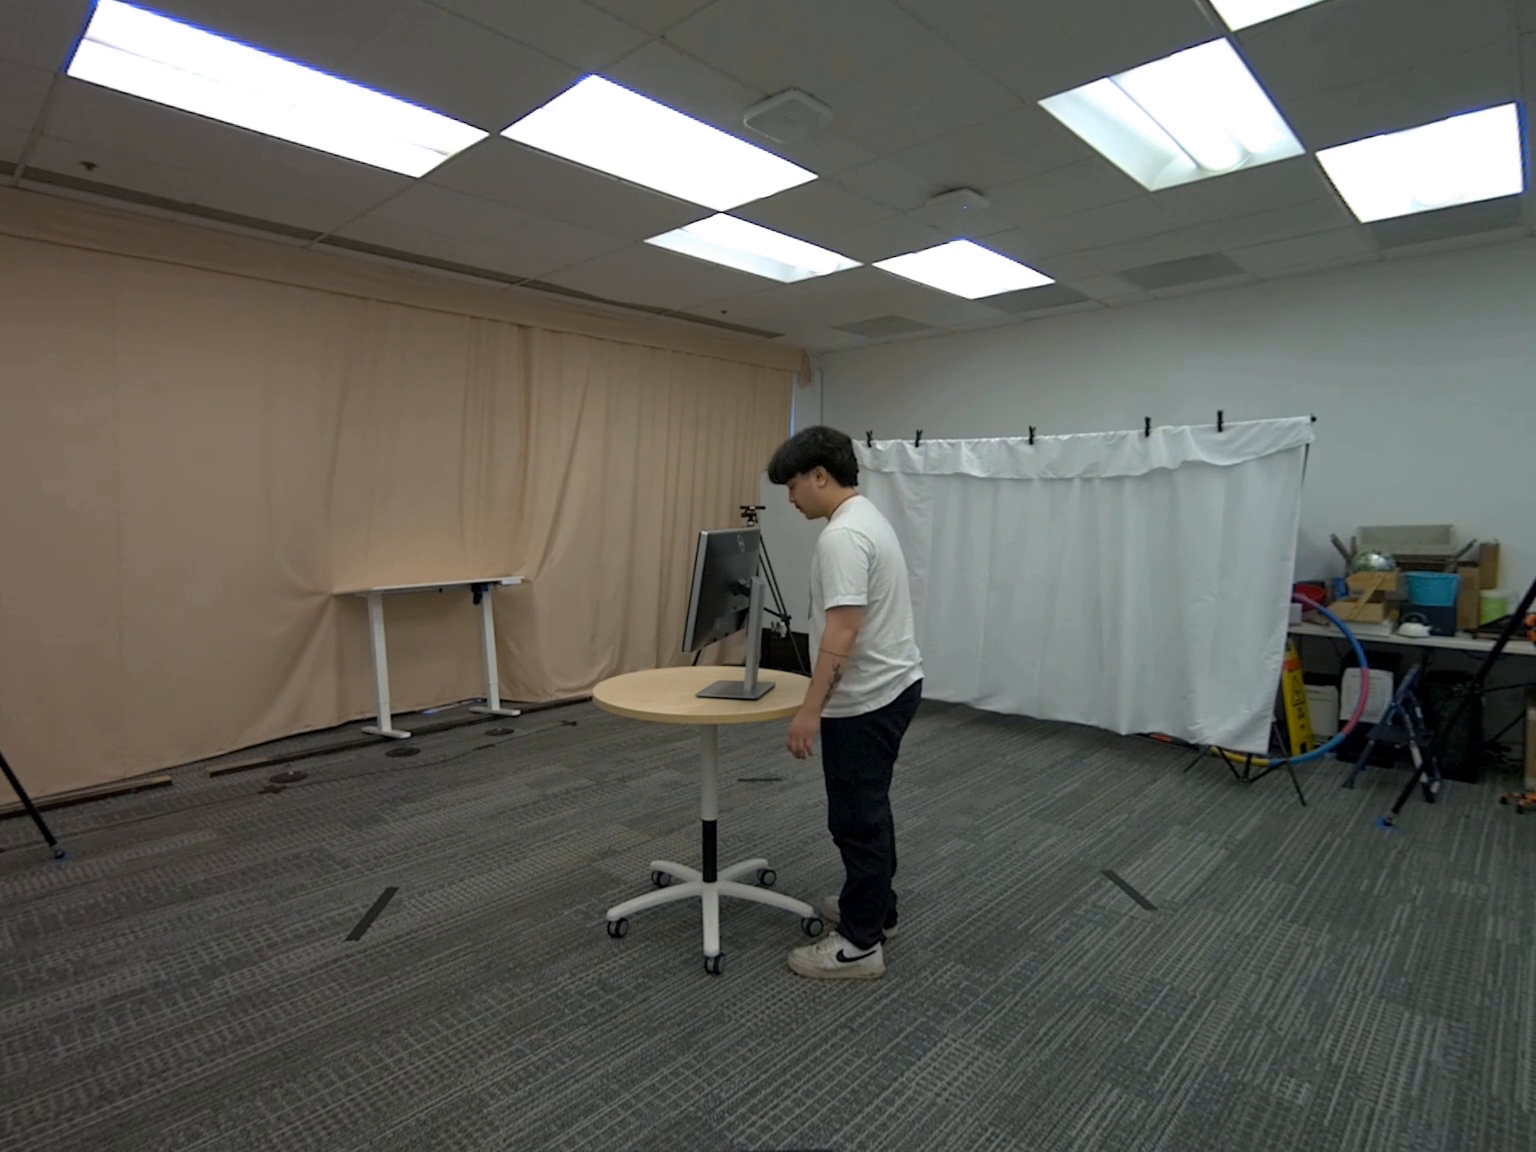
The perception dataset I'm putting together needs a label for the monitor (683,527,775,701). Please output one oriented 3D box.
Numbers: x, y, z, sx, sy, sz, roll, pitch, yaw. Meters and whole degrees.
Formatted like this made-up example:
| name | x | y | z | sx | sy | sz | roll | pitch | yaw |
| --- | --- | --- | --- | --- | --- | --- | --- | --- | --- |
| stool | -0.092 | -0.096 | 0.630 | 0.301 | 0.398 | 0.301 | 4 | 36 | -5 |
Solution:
| name | x | y | z | sx | sy | sz | roll | pitch | yaw |
| --- | --- | --- | --- | --- | --- | --- | --- | --- | --- |
| monitor | -0.075 | 0.124 | 2.694 | 0.214 | 0.552 | 0.555 | 5 | 5 | 17 |
